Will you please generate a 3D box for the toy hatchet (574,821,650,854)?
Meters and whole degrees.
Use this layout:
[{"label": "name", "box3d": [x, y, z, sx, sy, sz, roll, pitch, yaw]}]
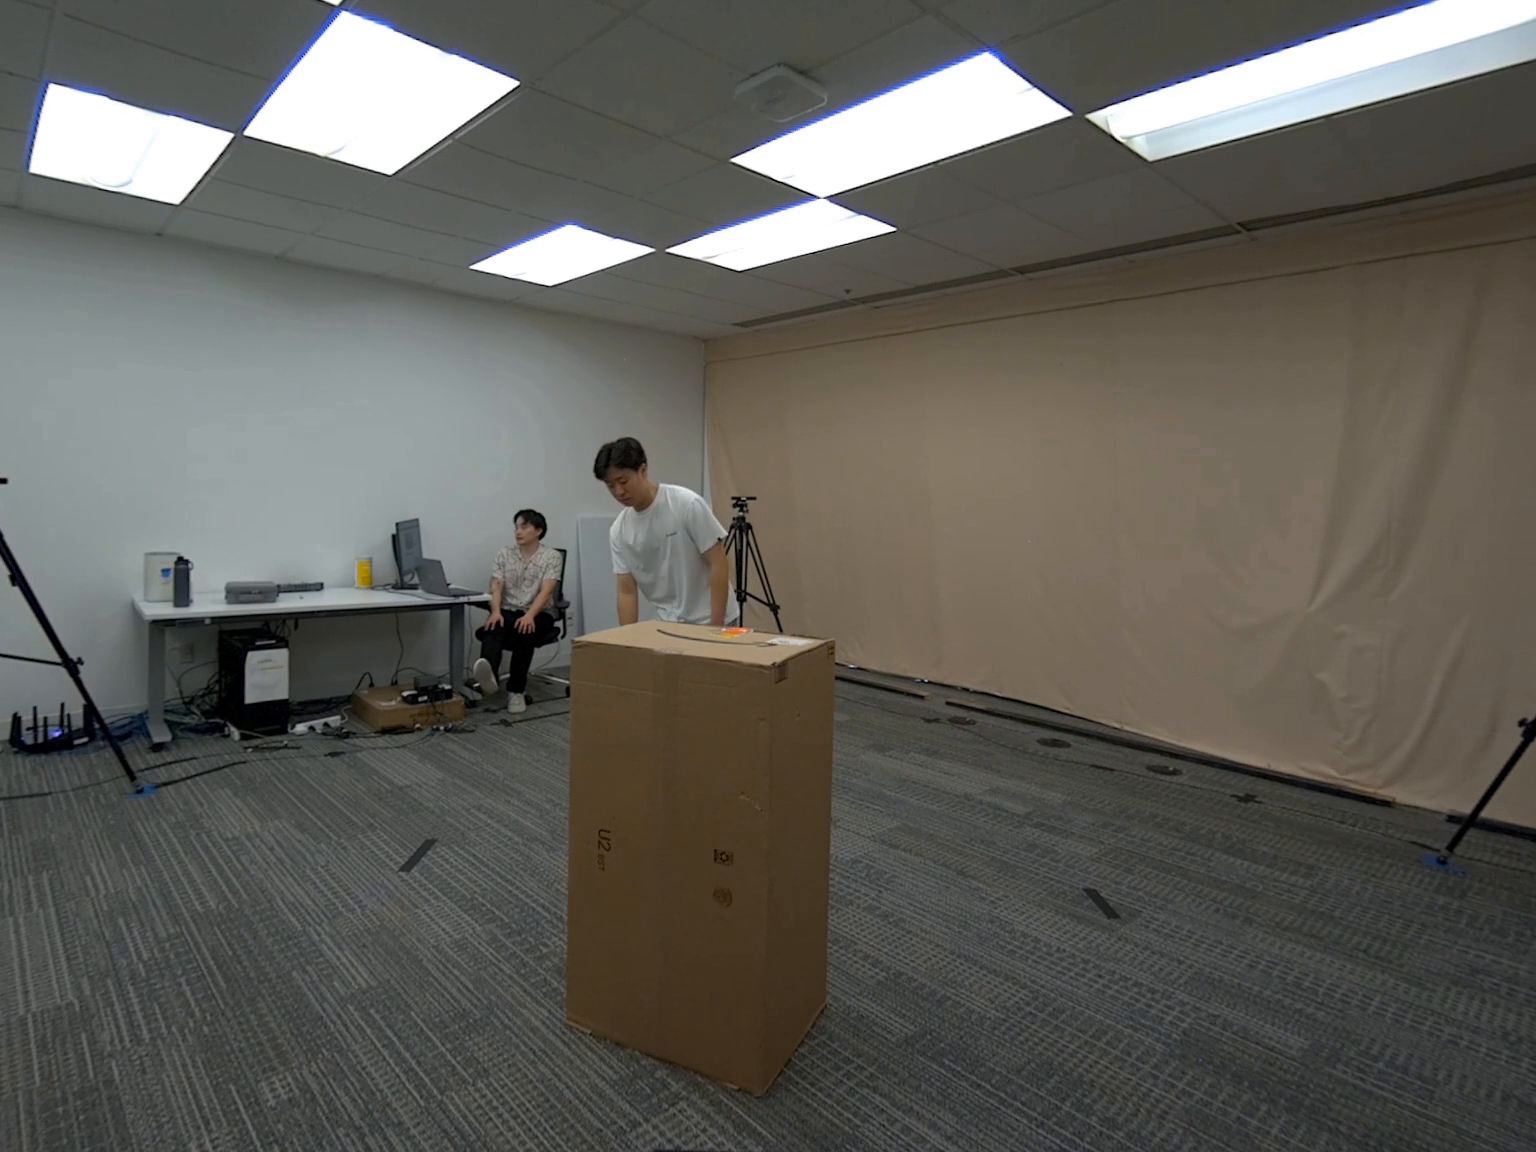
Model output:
[{"label": "toy hatchet", "box3d": [-0.636, 1.058, 3.438, 0.274, 0.029, 0.129, 5, 7, 17]}]
